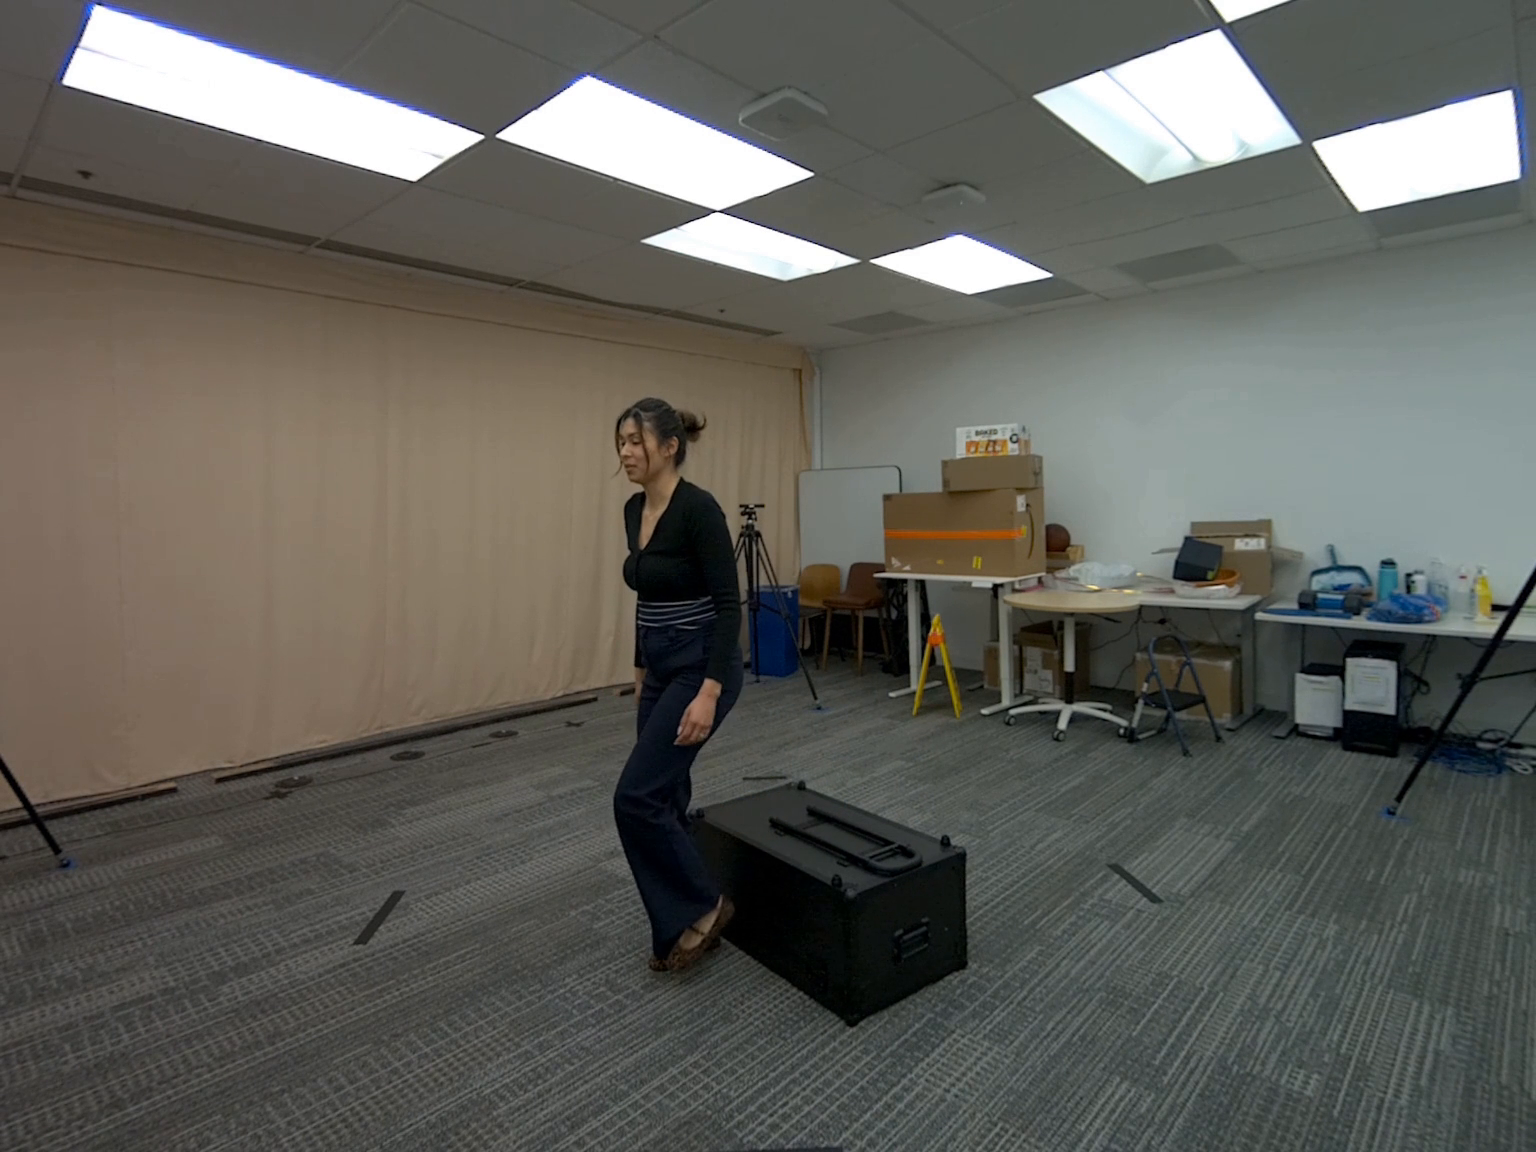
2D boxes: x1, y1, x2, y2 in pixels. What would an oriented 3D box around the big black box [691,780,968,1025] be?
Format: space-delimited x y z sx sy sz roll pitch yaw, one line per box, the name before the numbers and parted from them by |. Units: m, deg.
big black box | 0.181 0.990 2.657 0.506 0.395 0.889 -4 6 -37
